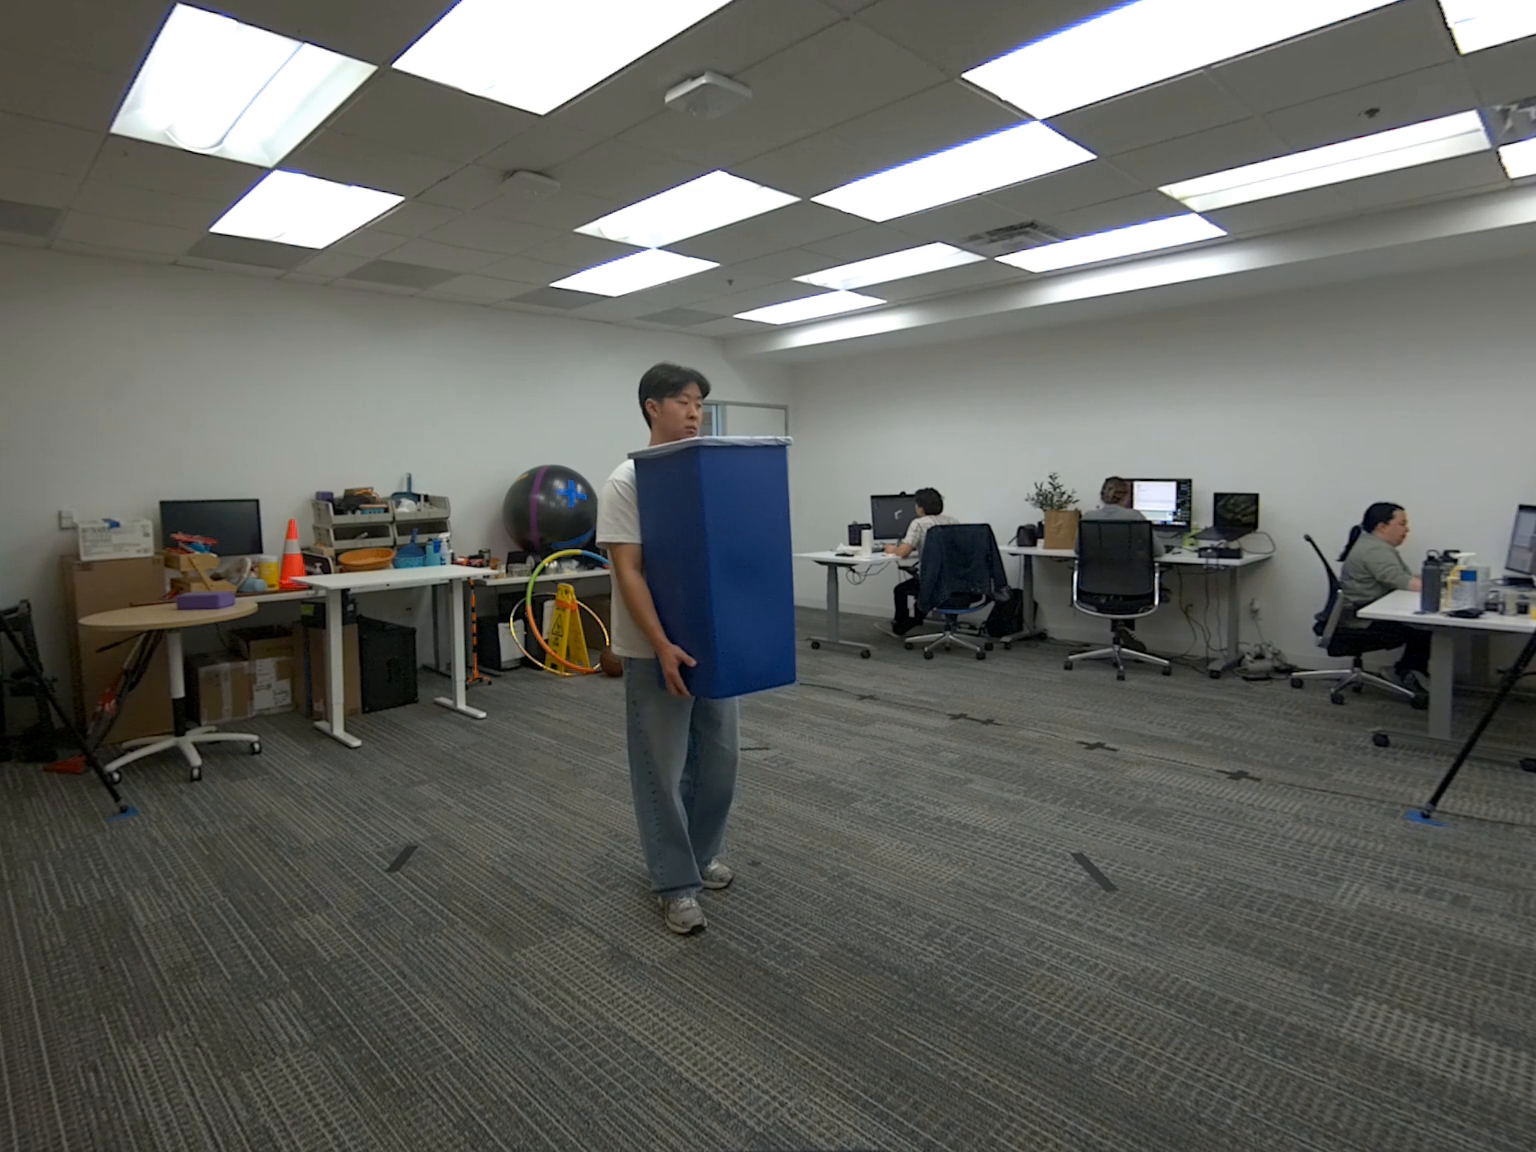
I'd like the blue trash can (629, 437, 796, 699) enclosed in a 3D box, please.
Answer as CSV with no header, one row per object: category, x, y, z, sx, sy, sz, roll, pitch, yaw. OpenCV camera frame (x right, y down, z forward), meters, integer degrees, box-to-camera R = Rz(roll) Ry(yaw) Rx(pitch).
blue trash can,-0.138,-0.035,2.506,0.364,0.713,0.388,-5,1,-40
